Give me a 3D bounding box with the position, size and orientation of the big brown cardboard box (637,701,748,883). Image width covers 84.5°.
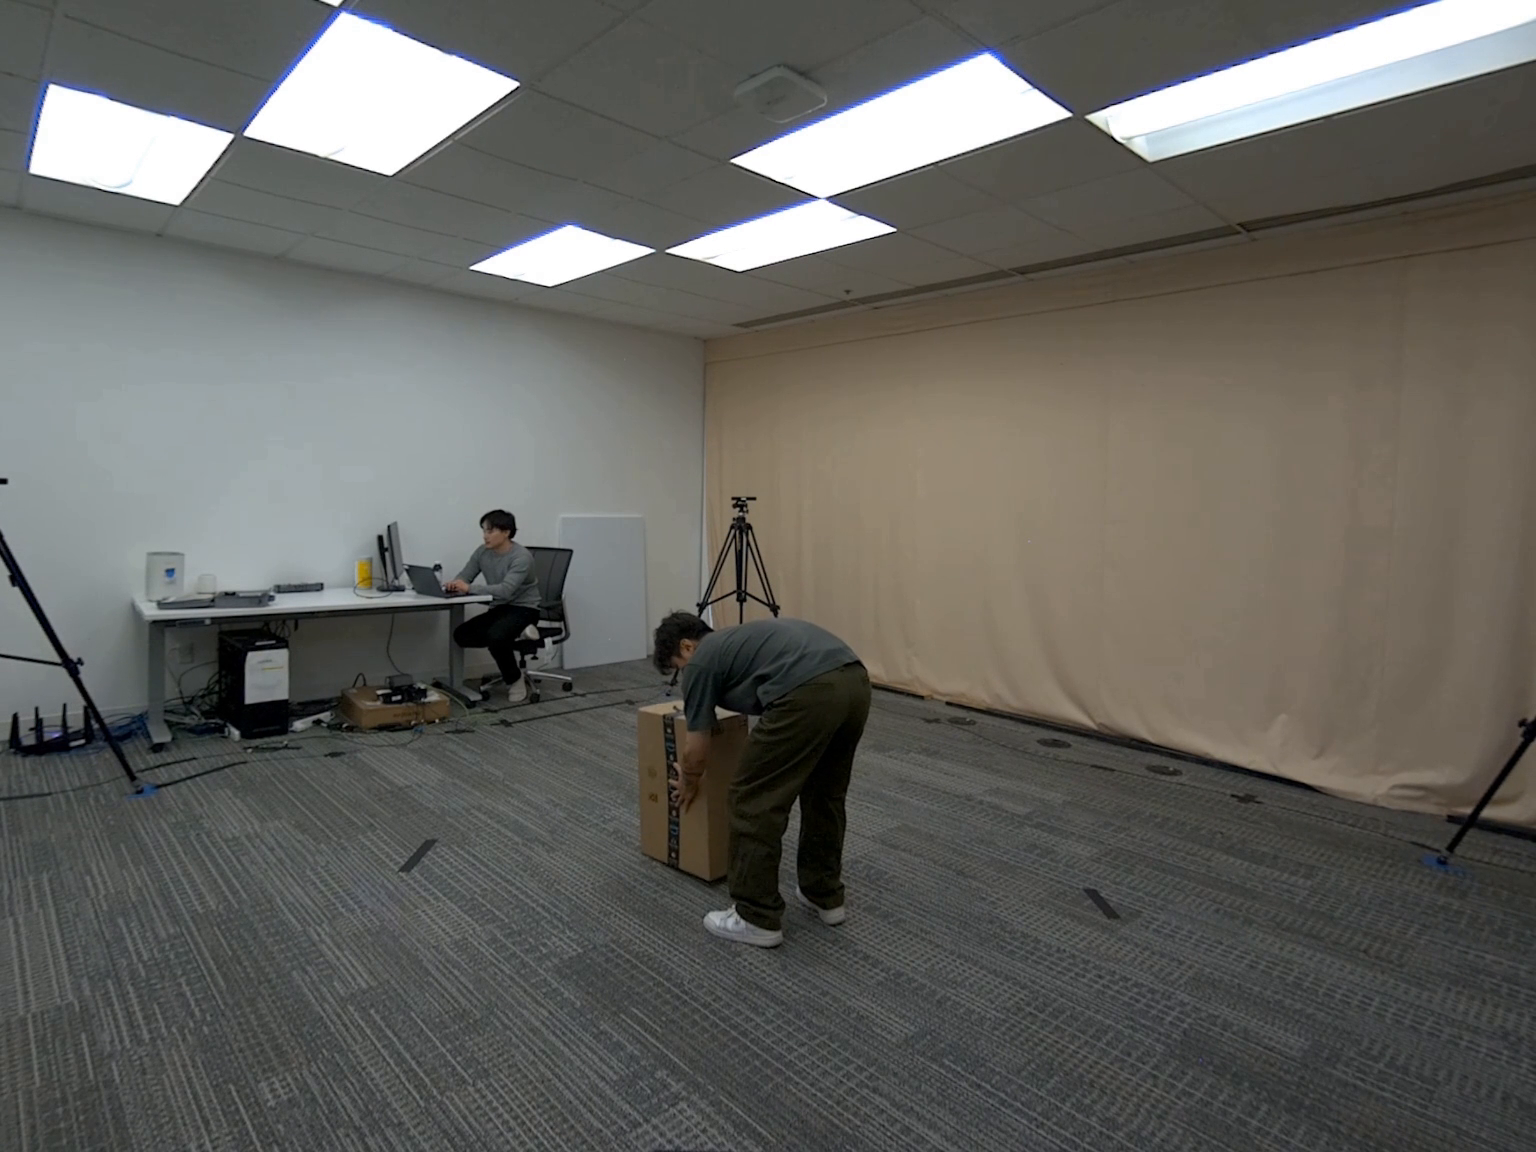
[{"bbox_3d":[-0.290,0.793,3.202,0.228,0.588,0.427,-2,2,-43],"label":"big brown cardboard box"}]
